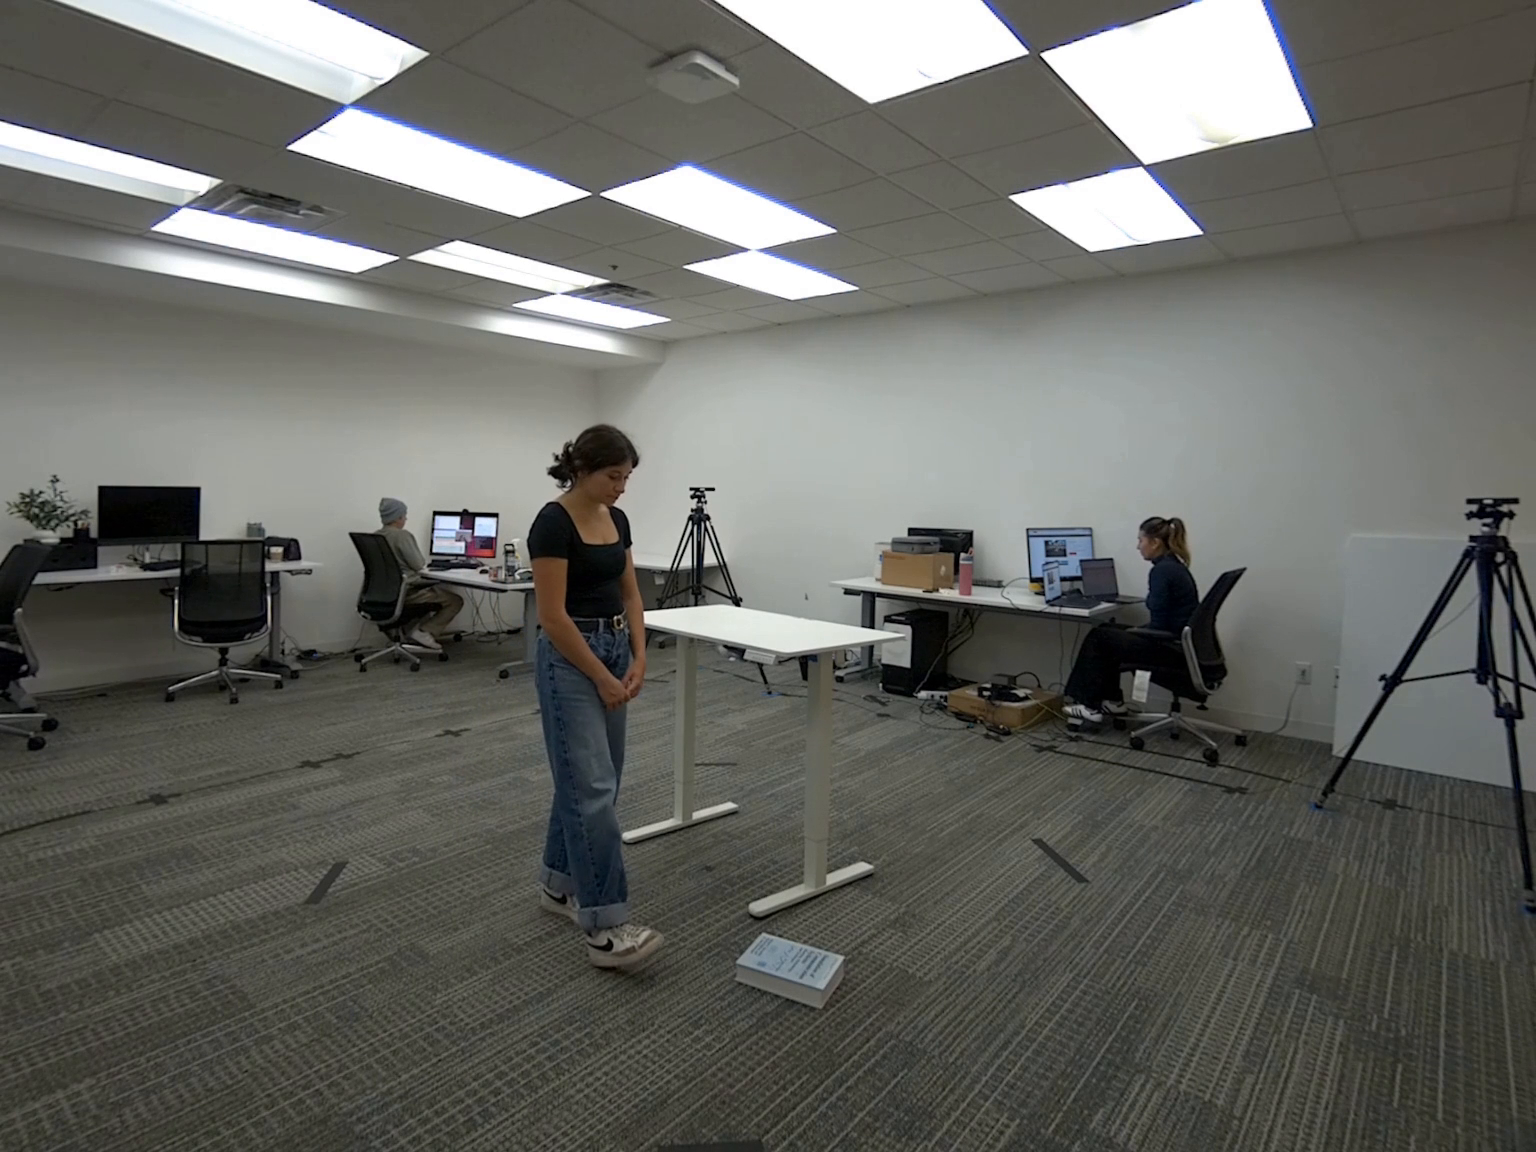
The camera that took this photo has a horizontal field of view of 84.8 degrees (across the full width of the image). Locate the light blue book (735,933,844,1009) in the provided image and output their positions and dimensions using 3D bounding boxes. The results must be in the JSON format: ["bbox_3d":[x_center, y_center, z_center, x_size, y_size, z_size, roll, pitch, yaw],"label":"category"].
[{"bbox_3d":[0.058,1.113,2.412,0.268,0.059,0.187,4,7,27],"label":"light blue book"}]
